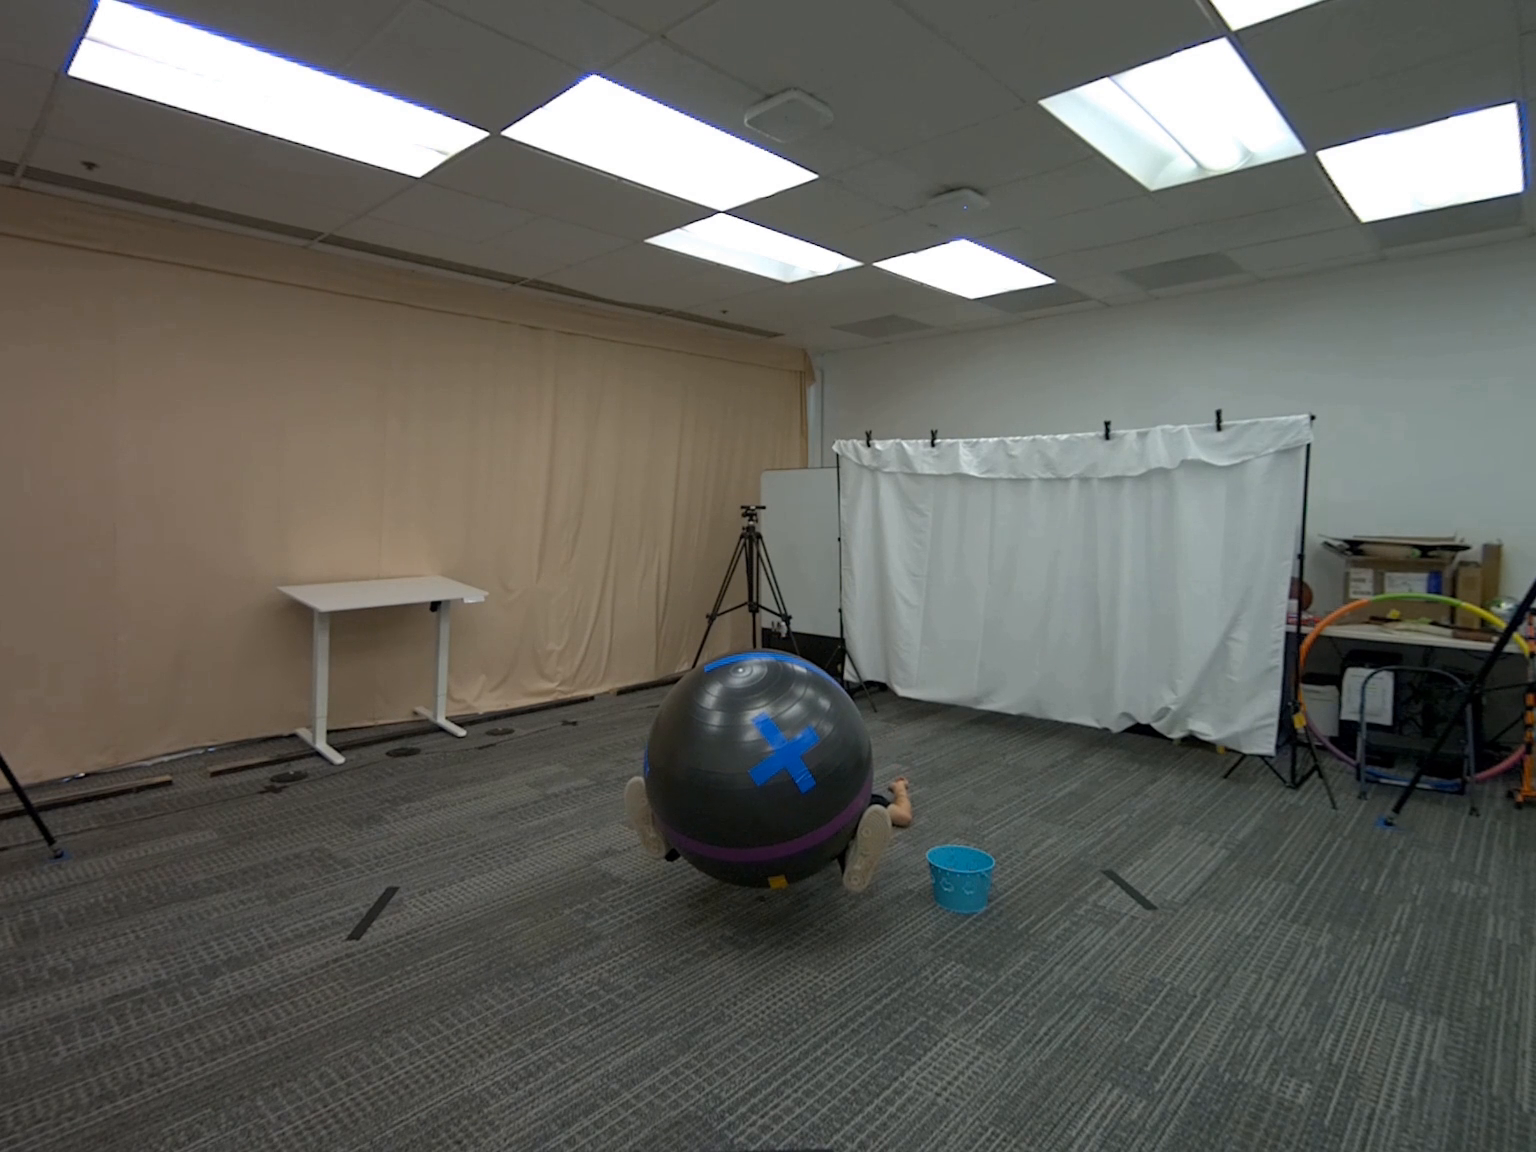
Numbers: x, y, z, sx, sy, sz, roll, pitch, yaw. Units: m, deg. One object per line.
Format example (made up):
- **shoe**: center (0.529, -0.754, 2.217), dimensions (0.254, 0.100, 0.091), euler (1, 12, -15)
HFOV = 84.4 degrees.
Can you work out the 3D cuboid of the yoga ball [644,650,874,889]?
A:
- **yoga ball**: center (-0.033, 0.633, 2.787), dimensions (0.757, 0.756, 0.760), euler (0, 4, -2)
